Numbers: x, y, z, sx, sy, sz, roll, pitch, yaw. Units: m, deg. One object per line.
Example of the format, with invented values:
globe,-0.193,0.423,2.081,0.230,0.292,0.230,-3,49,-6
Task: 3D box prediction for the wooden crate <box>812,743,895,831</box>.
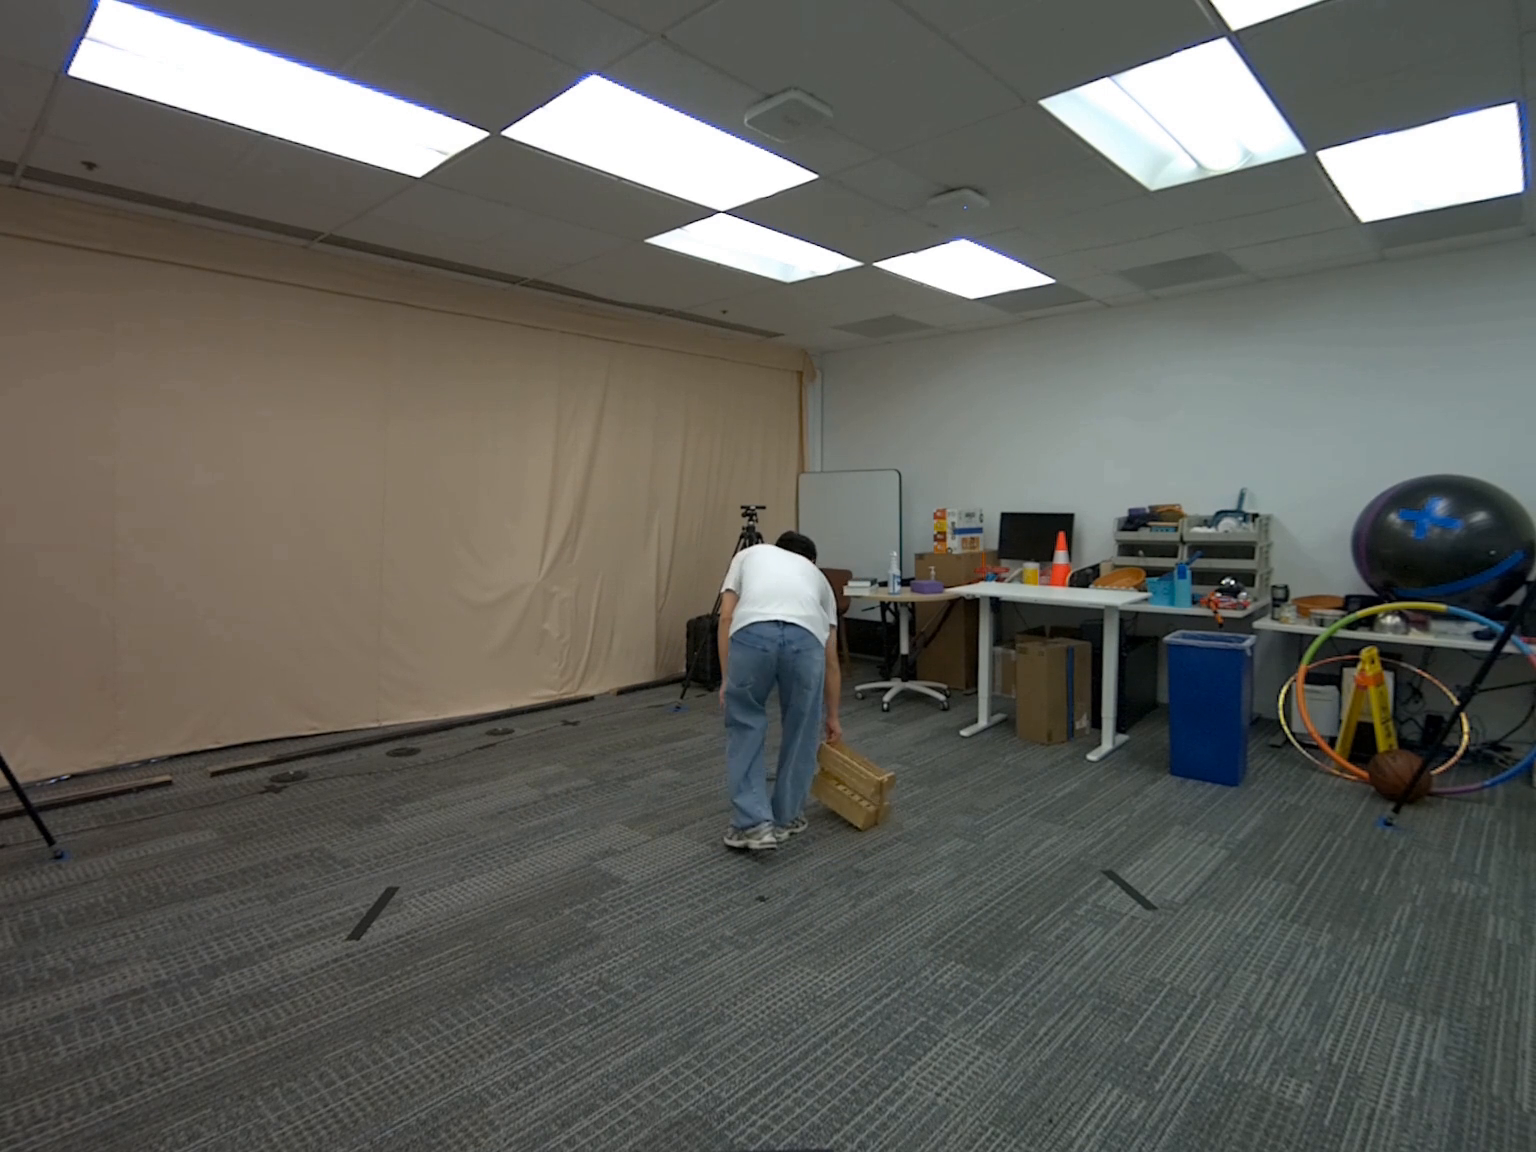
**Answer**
wooden crate,0.378,0.897,3.713,0.336,0.272,0.293,28,15,32
